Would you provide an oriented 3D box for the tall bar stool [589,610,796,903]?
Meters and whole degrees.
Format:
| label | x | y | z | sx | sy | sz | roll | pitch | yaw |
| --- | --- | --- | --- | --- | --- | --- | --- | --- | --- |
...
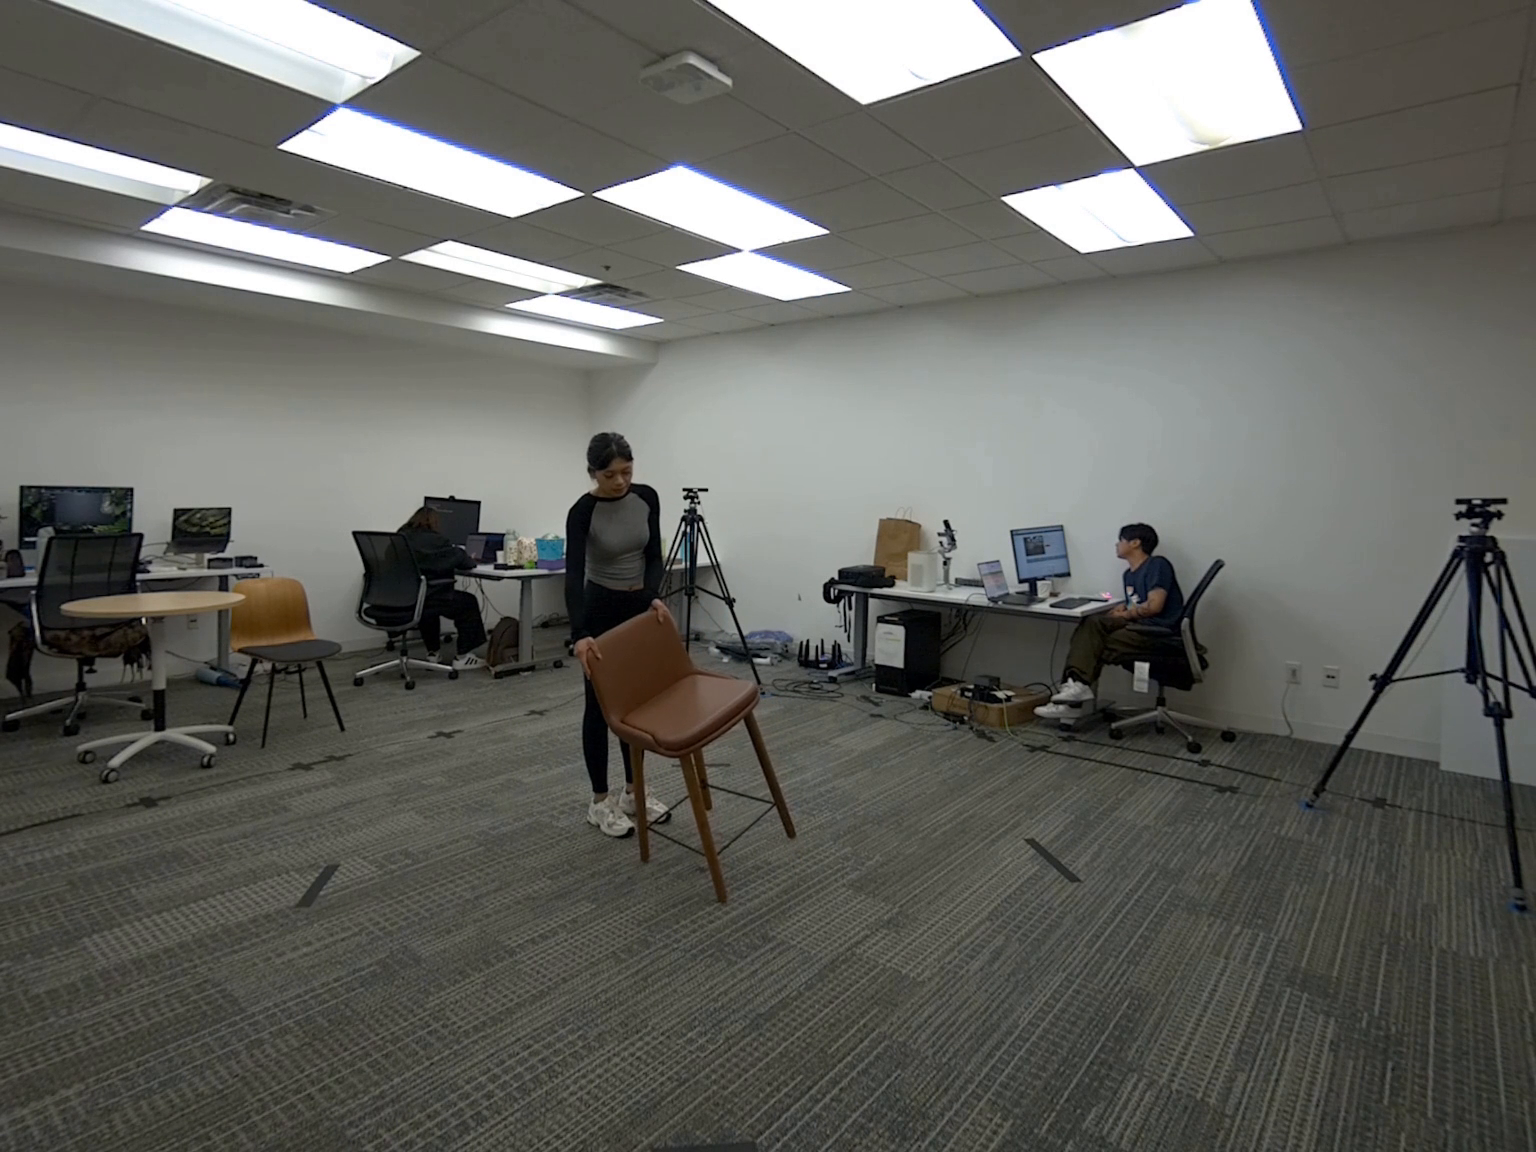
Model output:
| label | x | y | z | sx | sy | sz | roll | pitch | yaw |
| --- | --- | --- | --- | --- | --- | --- | --- | --- | --- |
| tall bar stool | -0.291 | 0.601 | 3.041 | 0.482 | 0.876 | 0.449 | 0 | 19 | 44 |
